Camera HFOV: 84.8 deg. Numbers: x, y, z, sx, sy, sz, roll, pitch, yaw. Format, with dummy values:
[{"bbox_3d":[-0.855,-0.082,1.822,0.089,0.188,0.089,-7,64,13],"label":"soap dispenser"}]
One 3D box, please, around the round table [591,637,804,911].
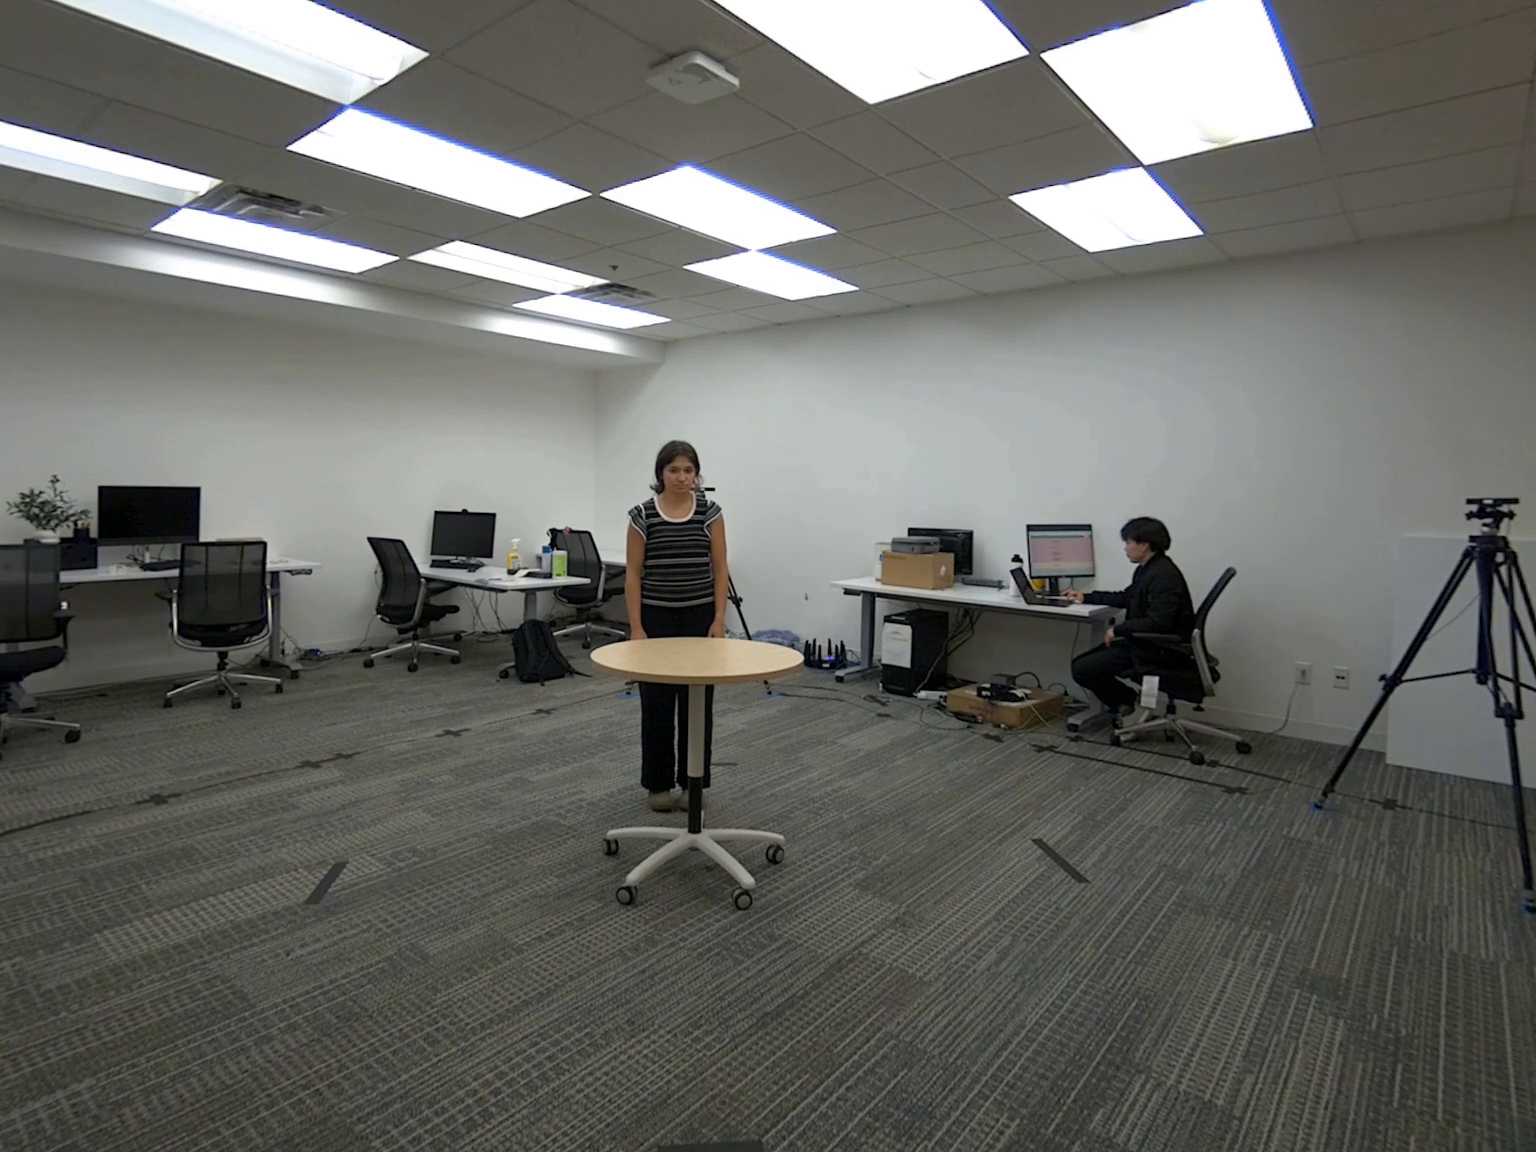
[{"bbox_3d":[-0.272,0.670,3.094,0.784,0.784,0.788,1,4,-2],"label":"round table"}]
